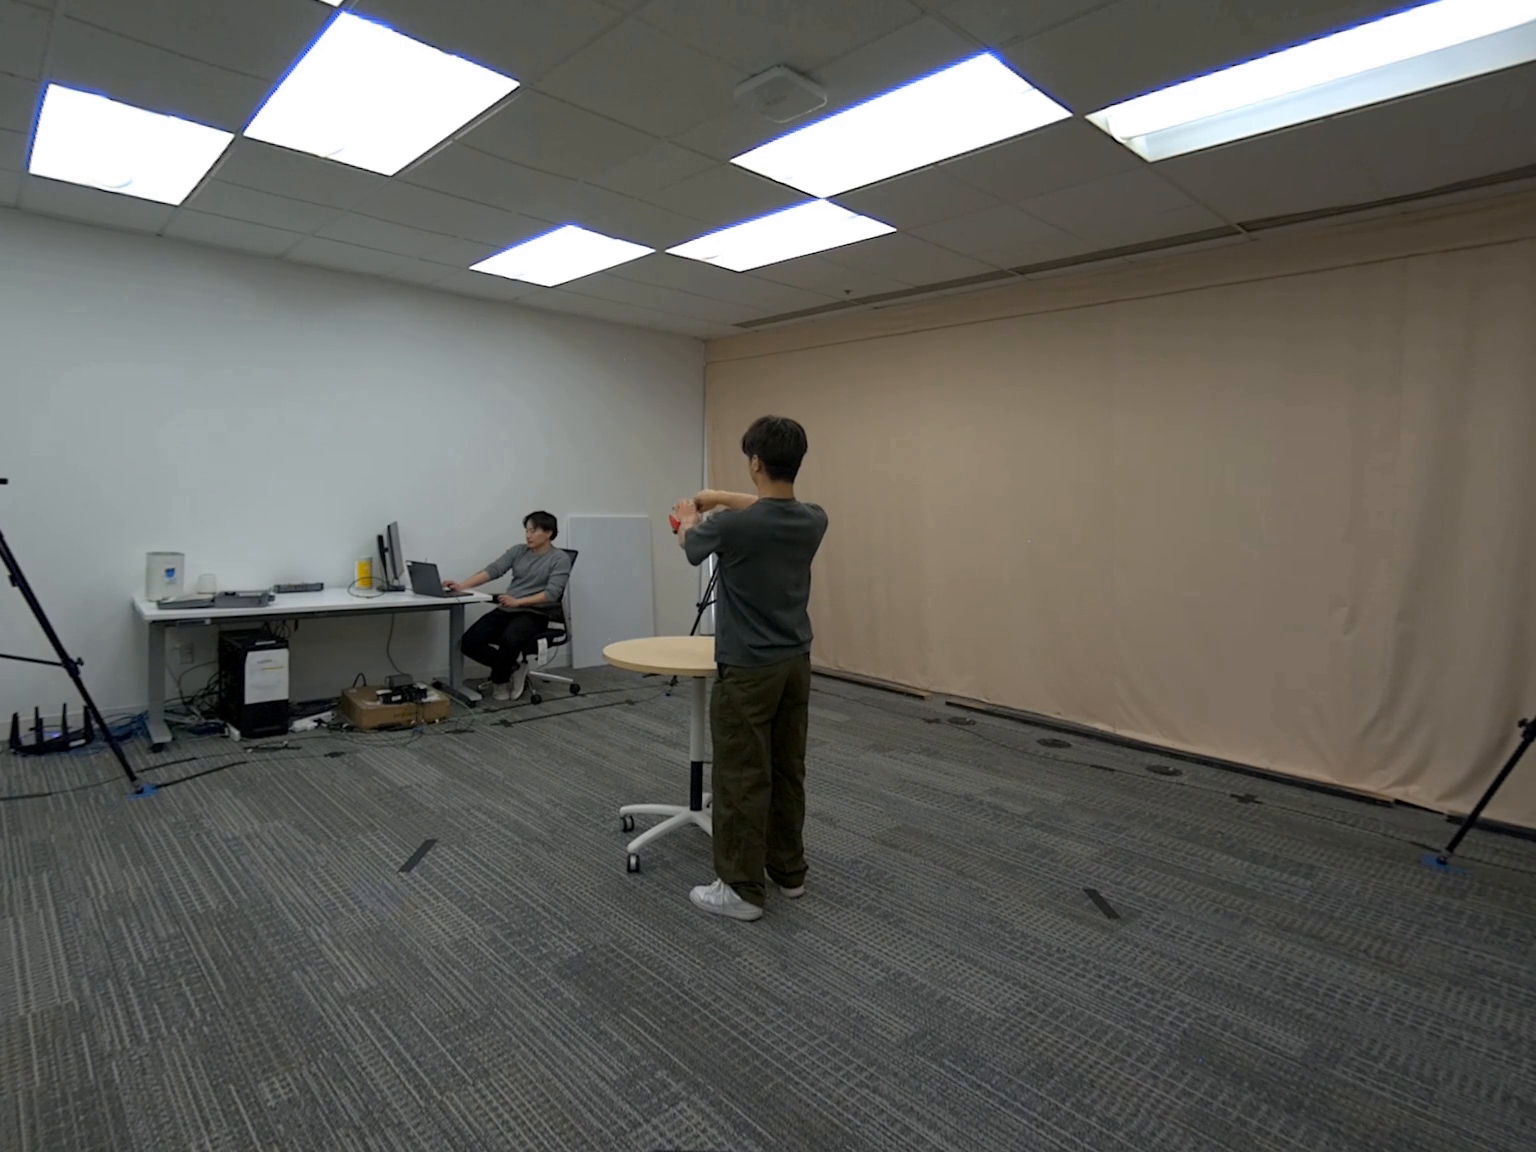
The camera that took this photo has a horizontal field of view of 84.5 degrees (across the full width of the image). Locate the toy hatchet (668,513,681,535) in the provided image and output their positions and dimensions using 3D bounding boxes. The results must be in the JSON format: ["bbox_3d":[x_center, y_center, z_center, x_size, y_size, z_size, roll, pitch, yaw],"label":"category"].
[{"bbox_3d":[-0.267,-0.229,3.320,0.267,0.129,0.030,-28,14,-31],"label":"toy hatchet"}]
